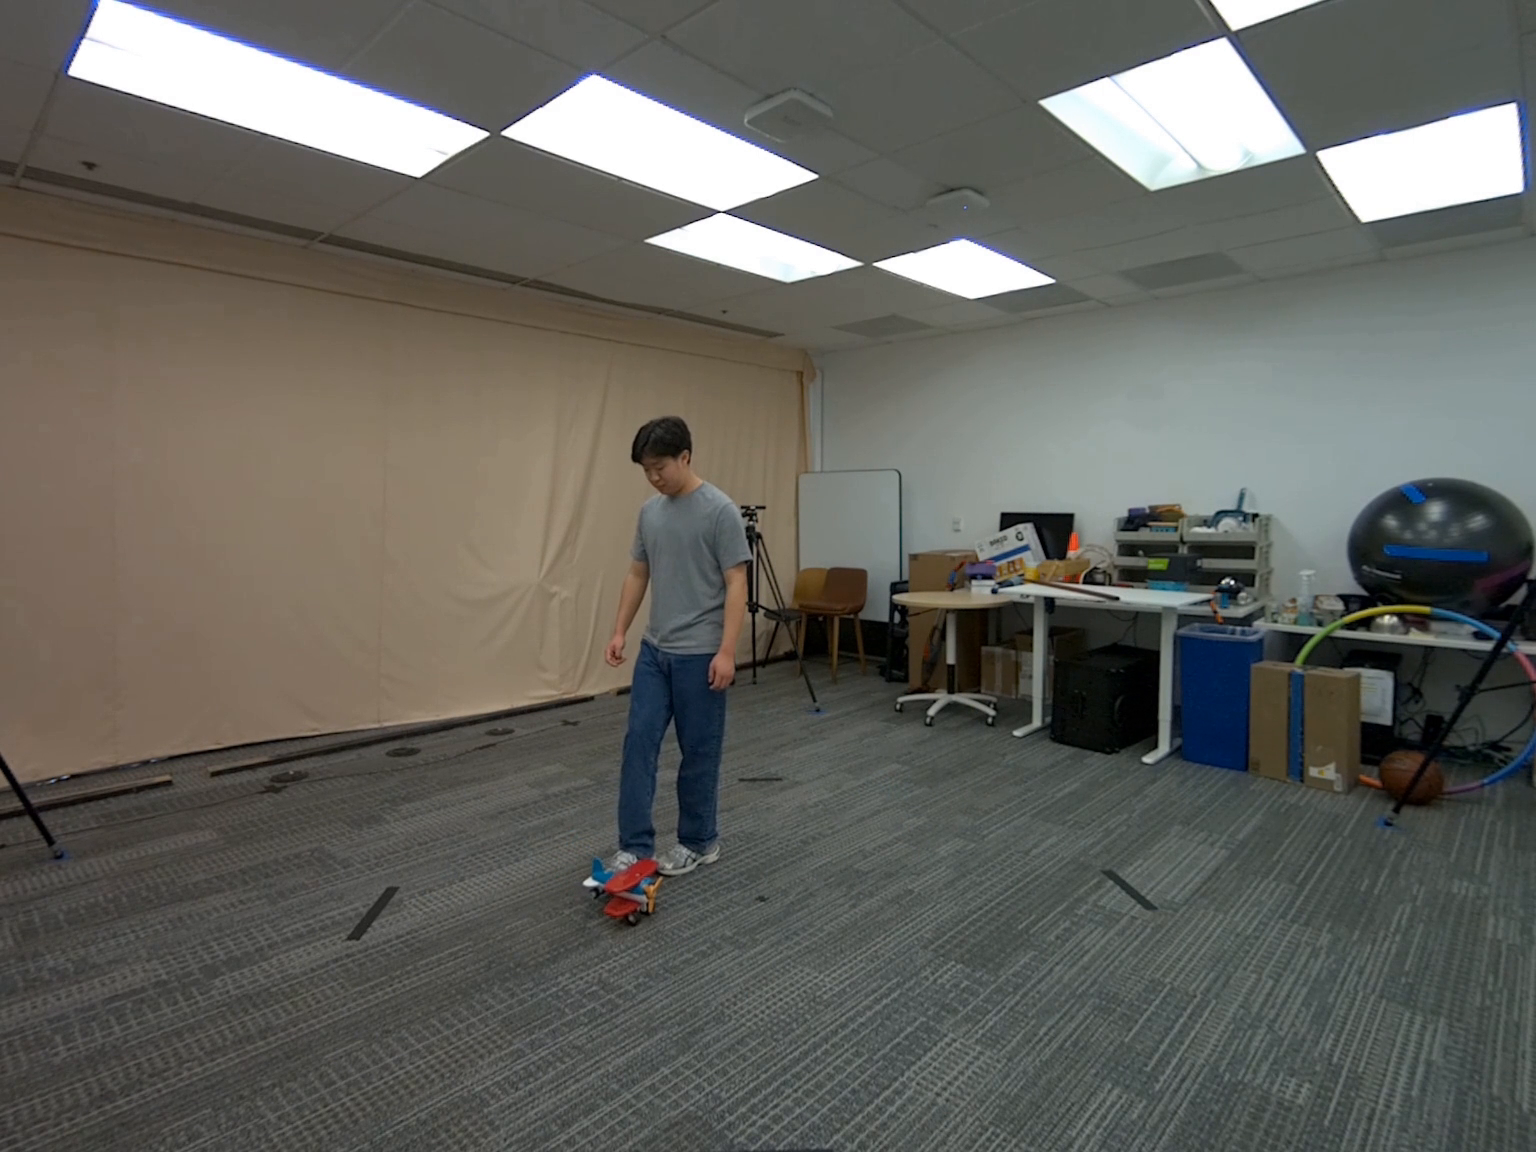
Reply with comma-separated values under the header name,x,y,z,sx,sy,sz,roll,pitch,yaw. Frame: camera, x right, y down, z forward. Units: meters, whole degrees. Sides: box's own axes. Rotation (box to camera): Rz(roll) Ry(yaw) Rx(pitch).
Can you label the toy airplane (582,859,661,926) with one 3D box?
name,x,y,z,sx,sy,sz,roll,pitch,yaw
toy airplane,-0.505,1.065,2.850,0.259,0.156,0.252,13,11,-2
